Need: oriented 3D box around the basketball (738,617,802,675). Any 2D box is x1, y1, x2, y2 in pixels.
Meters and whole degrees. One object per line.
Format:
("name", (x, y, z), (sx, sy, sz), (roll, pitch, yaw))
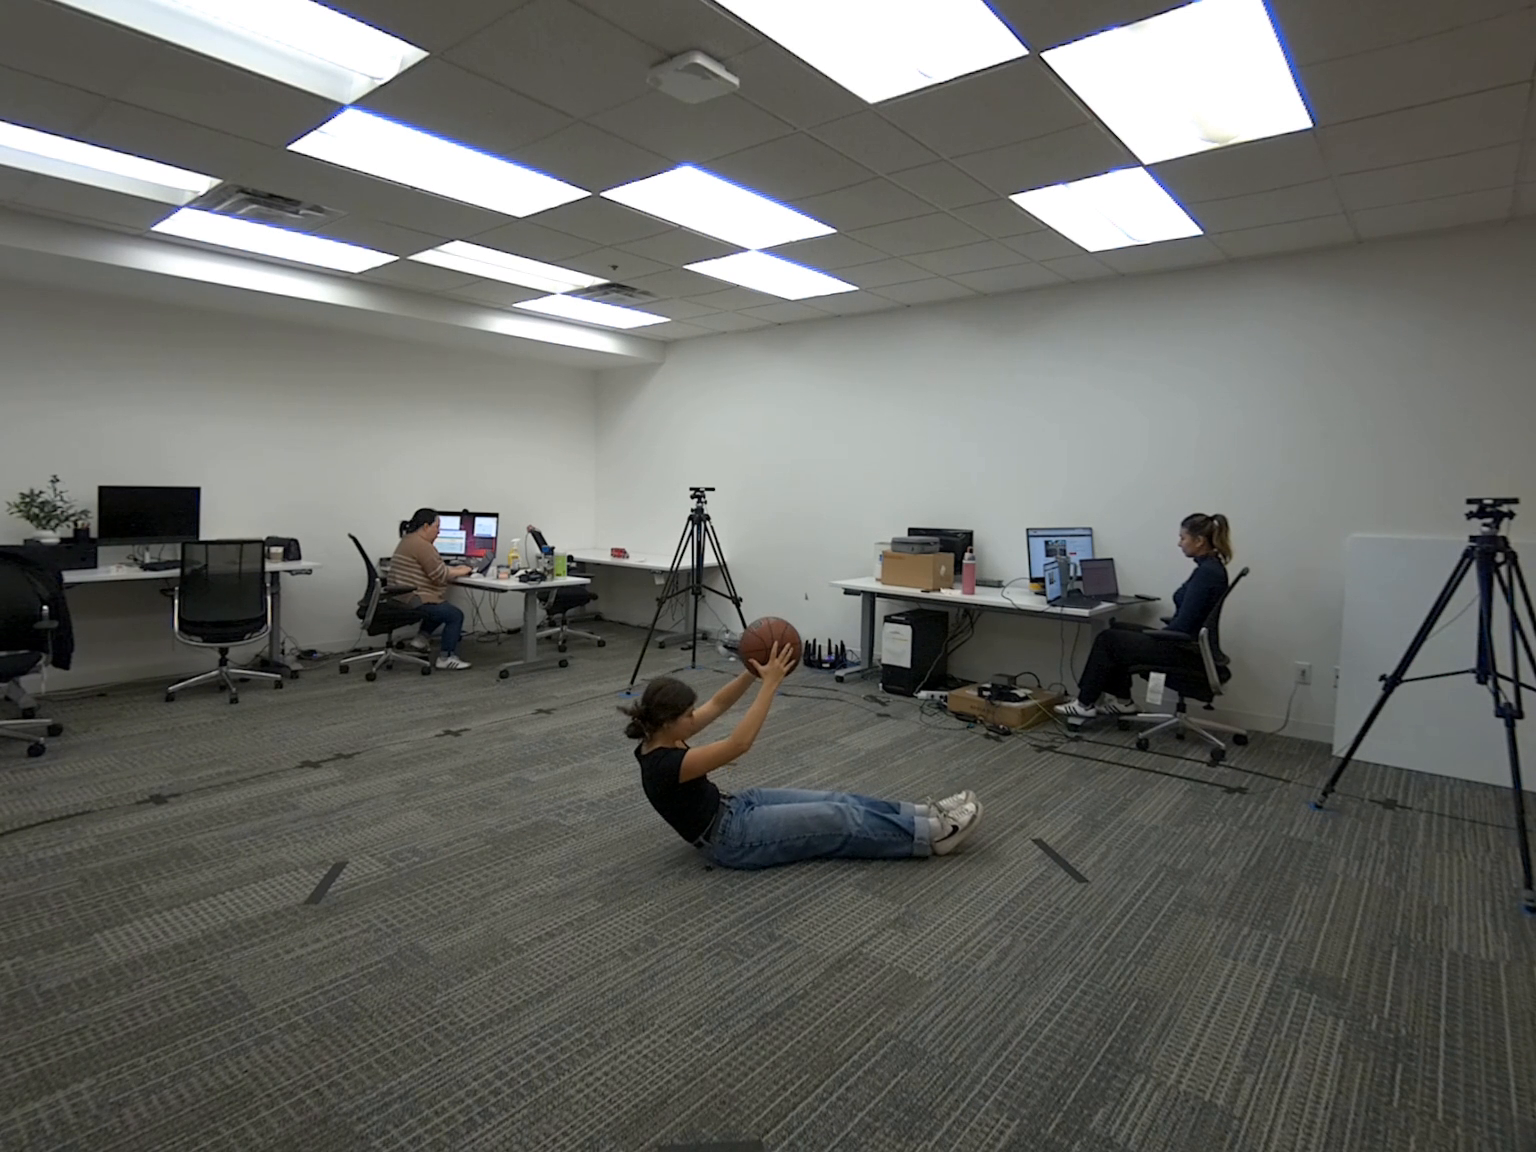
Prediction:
("basketball", (-0.003, 0.272, 3.213), (0.235, 0.235, 0.237), (1, 4, -2))
